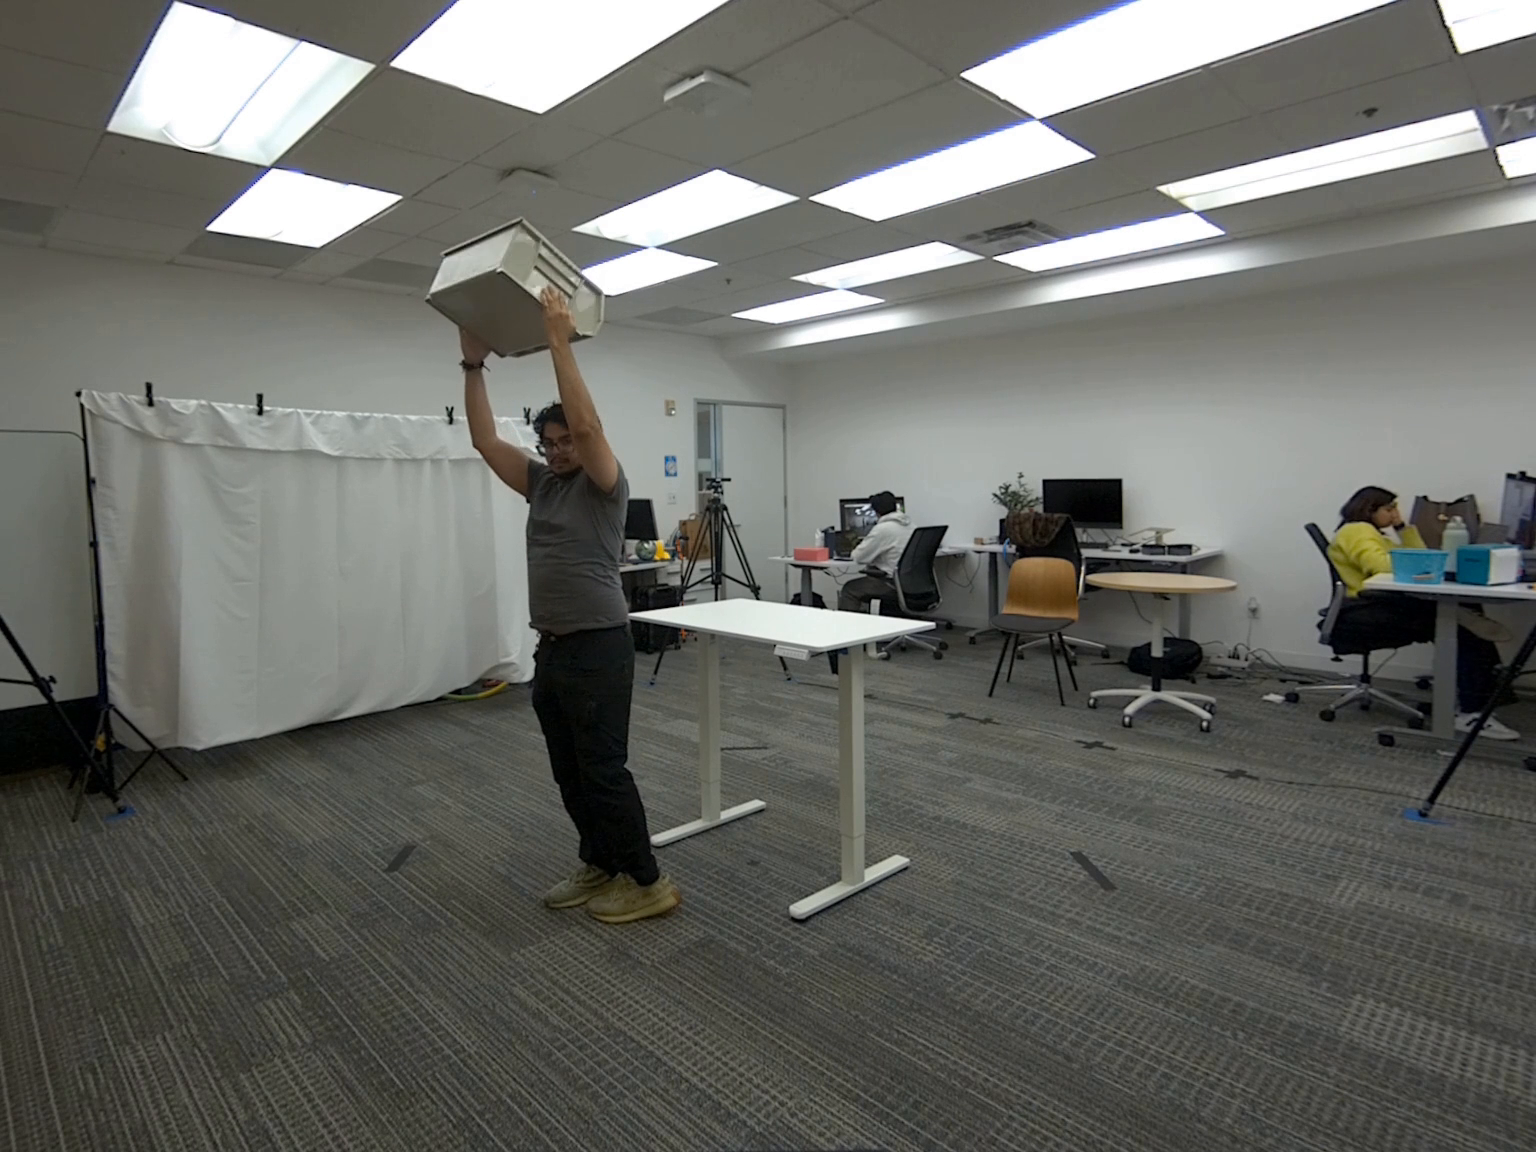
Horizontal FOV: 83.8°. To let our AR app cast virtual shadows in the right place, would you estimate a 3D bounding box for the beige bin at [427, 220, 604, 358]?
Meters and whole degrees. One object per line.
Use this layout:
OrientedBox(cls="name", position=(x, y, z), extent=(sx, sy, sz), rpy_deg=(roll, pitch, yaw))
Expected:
OrientedBox(cls="beige bin", position=(-0.776, -0.856, 2.639), extent=(0.434, 0.191, 0.363), rpy_deg=(0, -24, 40))
